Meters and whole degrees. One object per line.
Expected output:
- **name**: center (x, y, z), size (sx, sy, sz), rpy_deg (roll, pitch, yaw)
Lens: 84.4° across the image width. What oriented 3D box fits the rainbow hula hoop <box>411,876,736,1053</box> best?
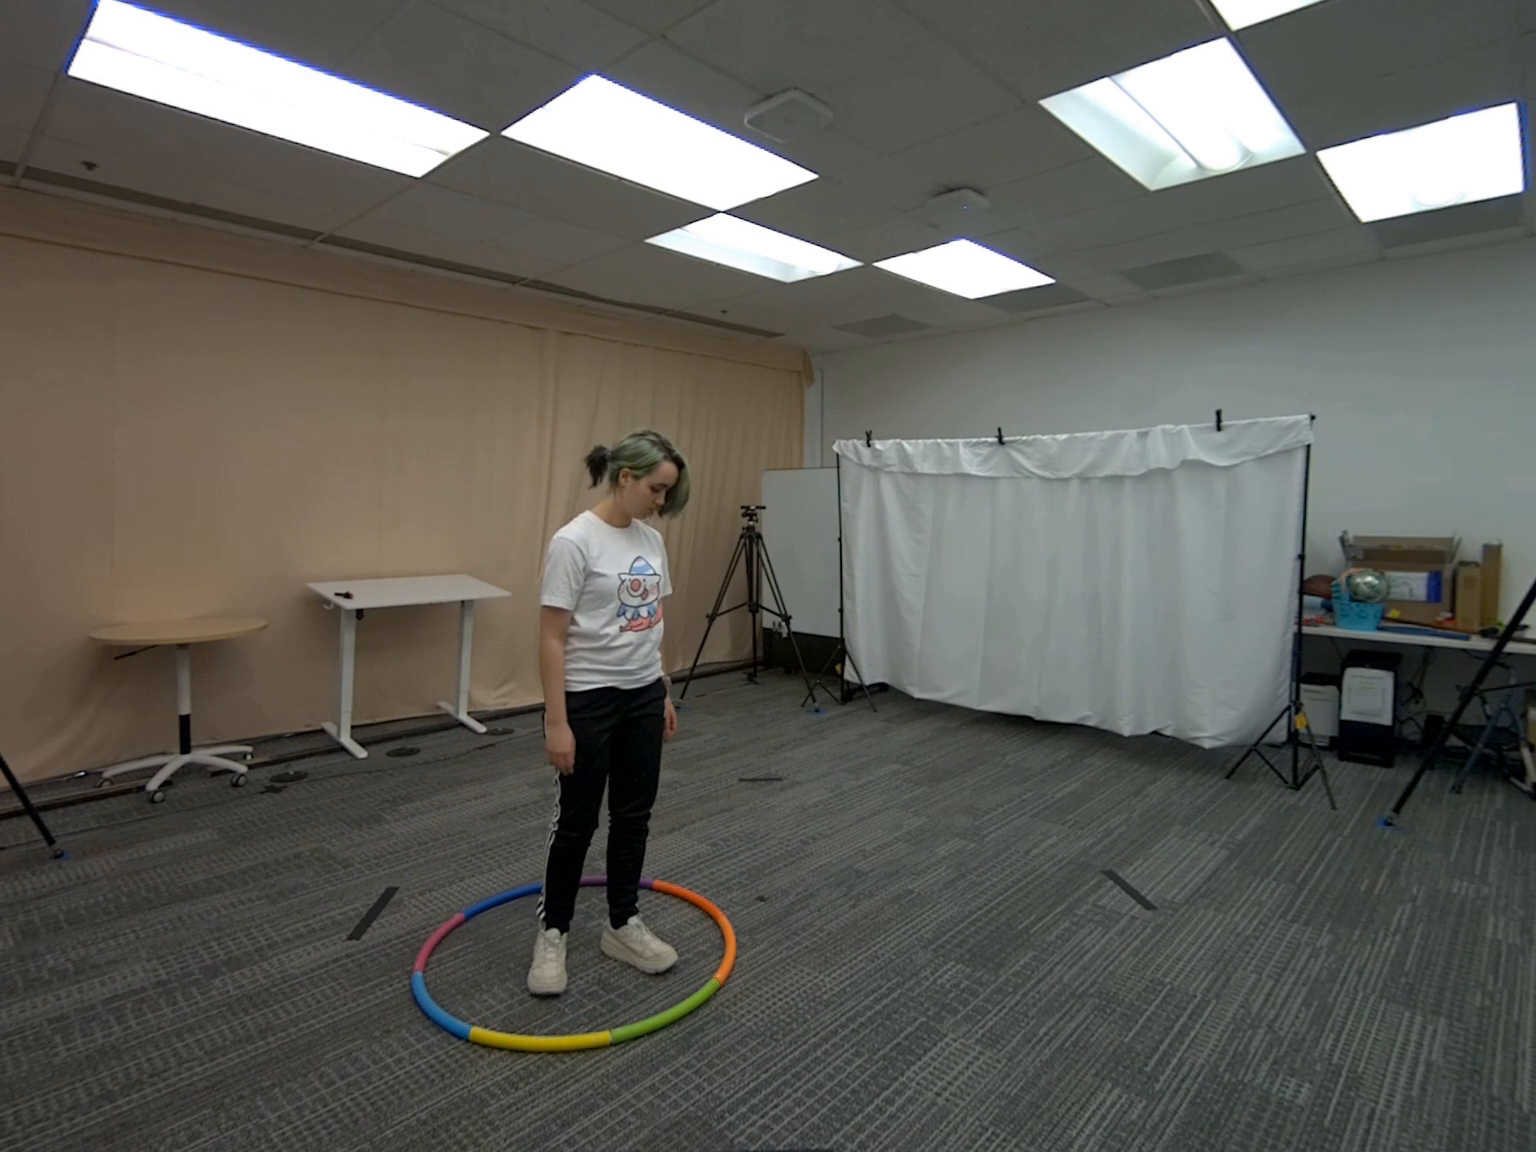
- **rainbow hula hoop**: center (-0.589, 1.154, 2.628), size (0.985, 0.051, 0.989), rpy_deg (0, 5, -2)
